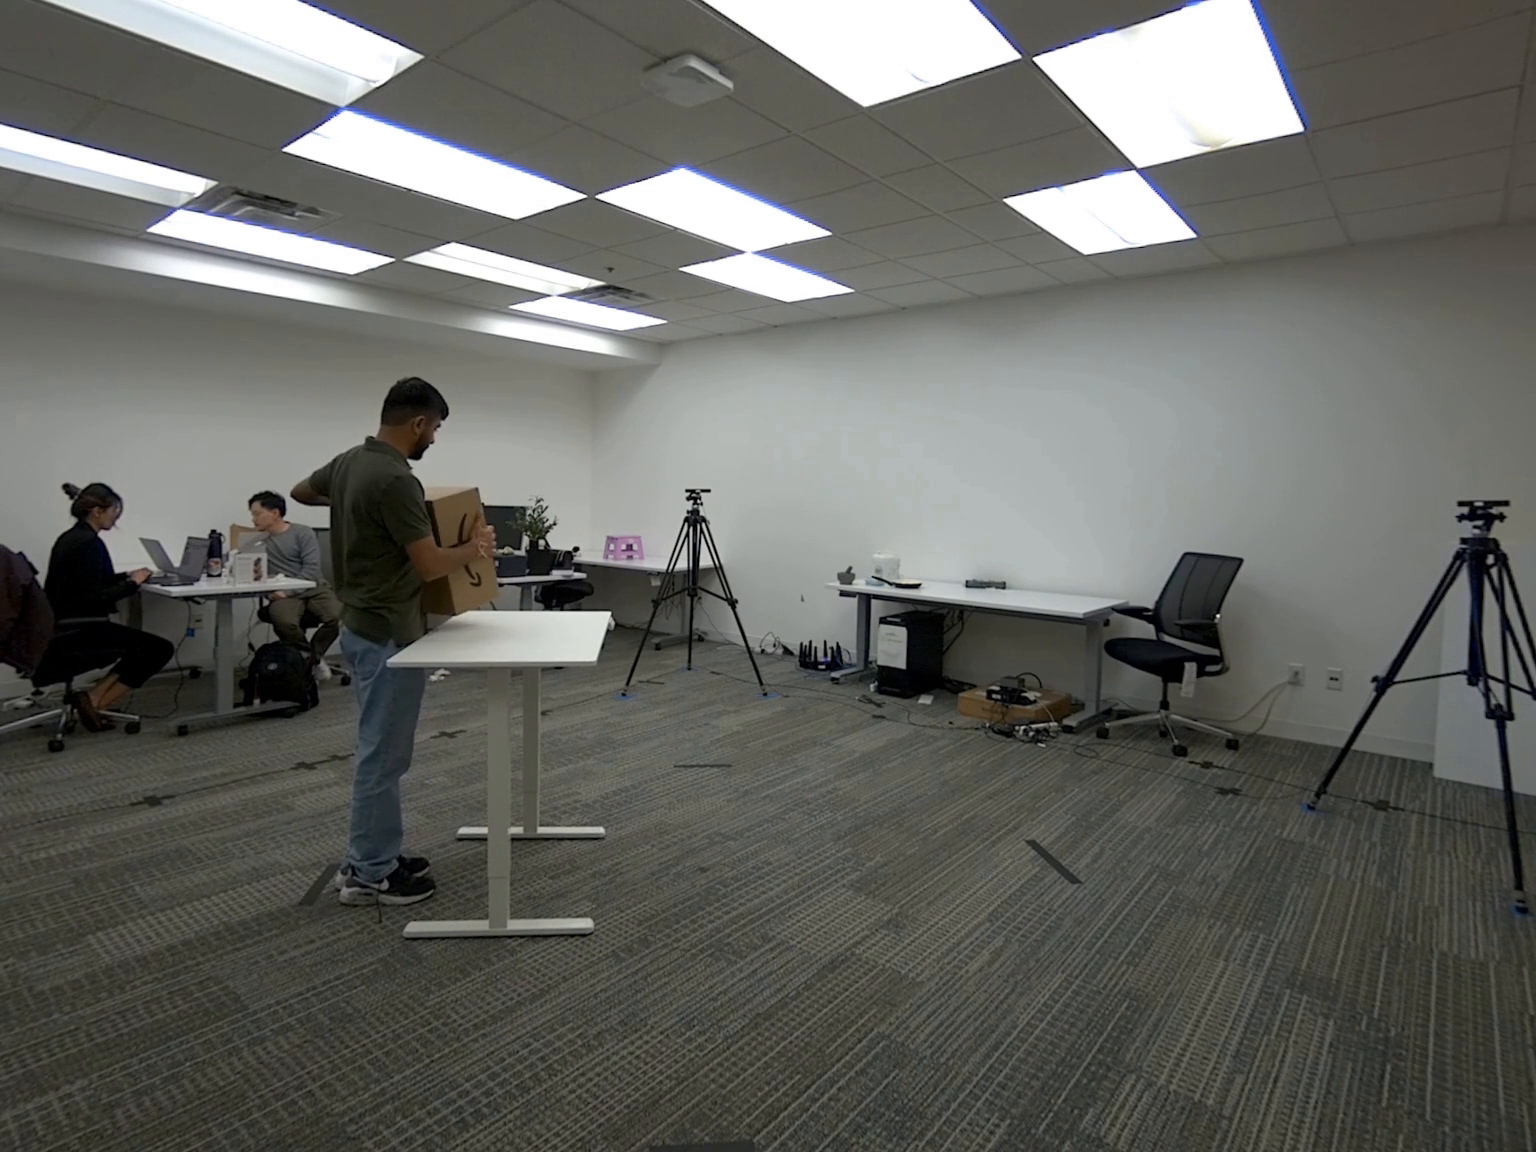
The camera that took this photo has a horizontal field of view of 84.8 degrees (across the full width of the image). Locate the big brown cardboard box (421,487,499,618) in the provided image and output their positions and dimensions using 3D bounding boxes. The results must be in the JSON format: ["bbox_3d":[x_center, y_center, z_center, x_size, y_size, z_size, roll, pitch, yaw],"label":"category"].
[{"bbox_3d":[-1.308,-0.103,3.124,0.607,0.411,0.230,4,17,32],"label":"big brown cardboard box"}]
